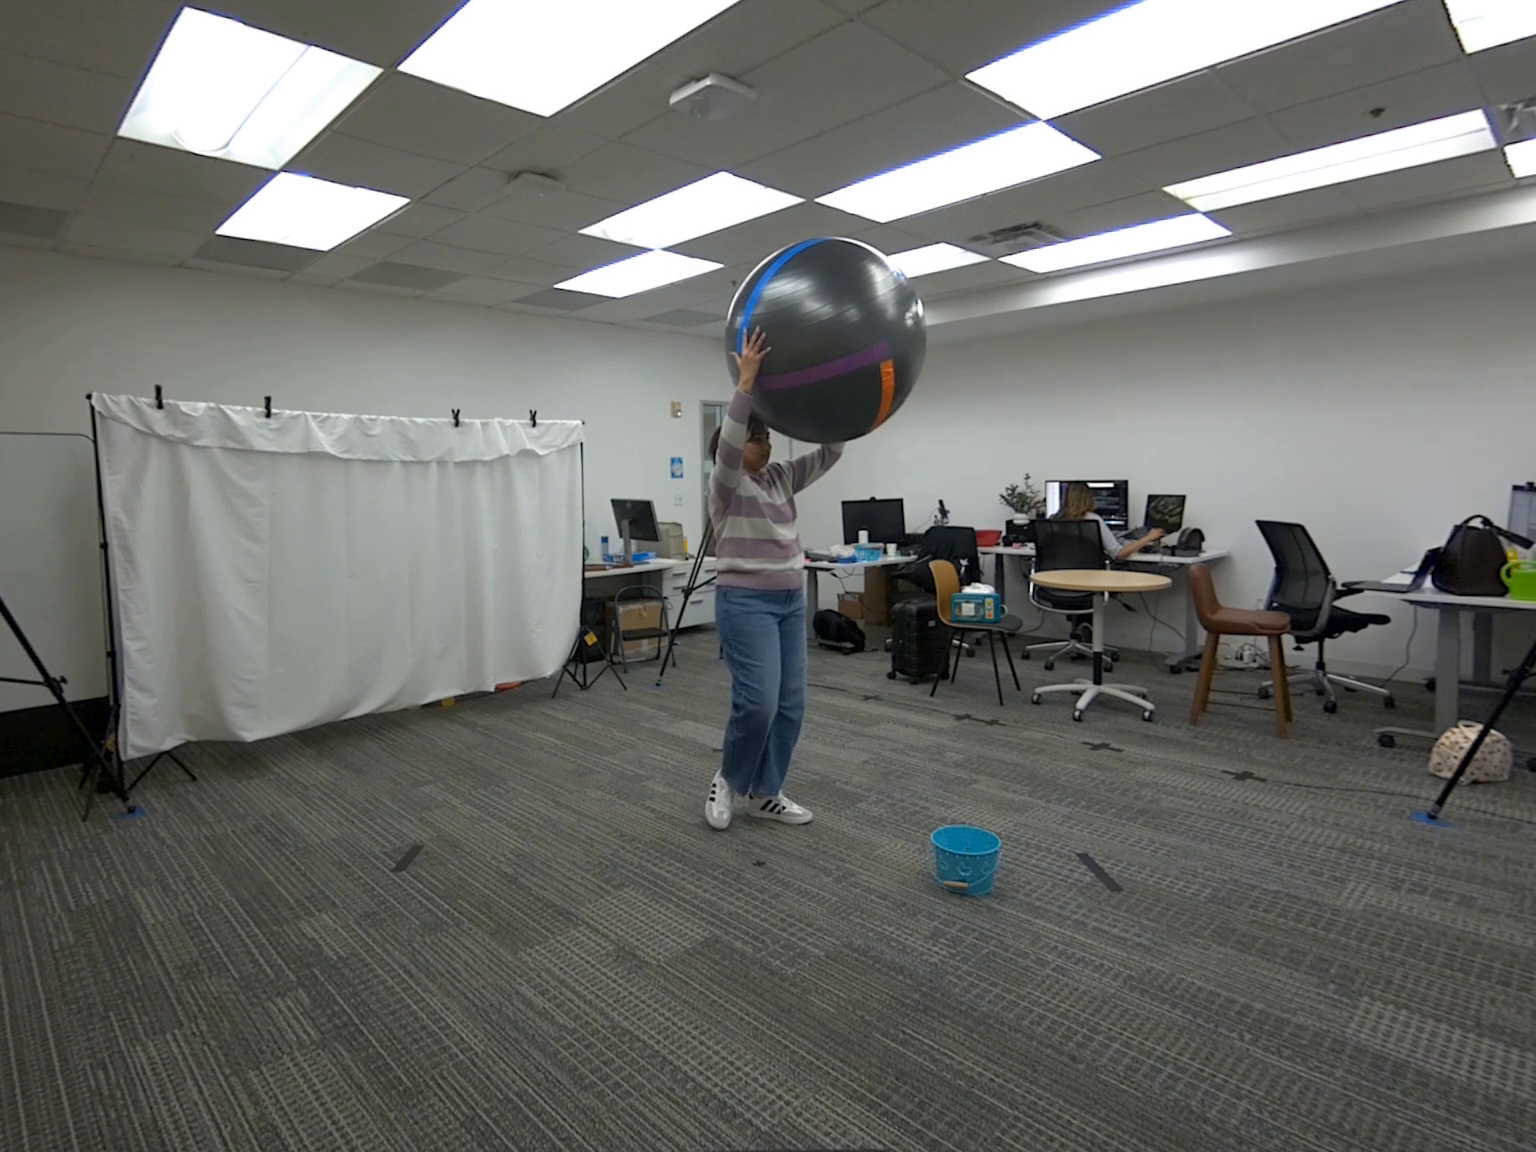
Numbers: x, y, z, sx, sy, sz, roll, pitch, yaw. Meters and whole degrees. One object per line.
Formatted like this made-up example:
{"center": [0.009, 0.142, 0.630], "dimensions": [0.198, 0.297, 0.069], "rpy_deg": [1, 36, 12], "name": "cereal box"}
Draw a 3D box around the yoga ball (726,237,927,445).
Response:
{"center": [0.216, -0.875, 3.235], "dimensions": [0.757, 0.755, 0.762], "rpy_deg": [-1, 5, -2], "name": "yoga ball"}
